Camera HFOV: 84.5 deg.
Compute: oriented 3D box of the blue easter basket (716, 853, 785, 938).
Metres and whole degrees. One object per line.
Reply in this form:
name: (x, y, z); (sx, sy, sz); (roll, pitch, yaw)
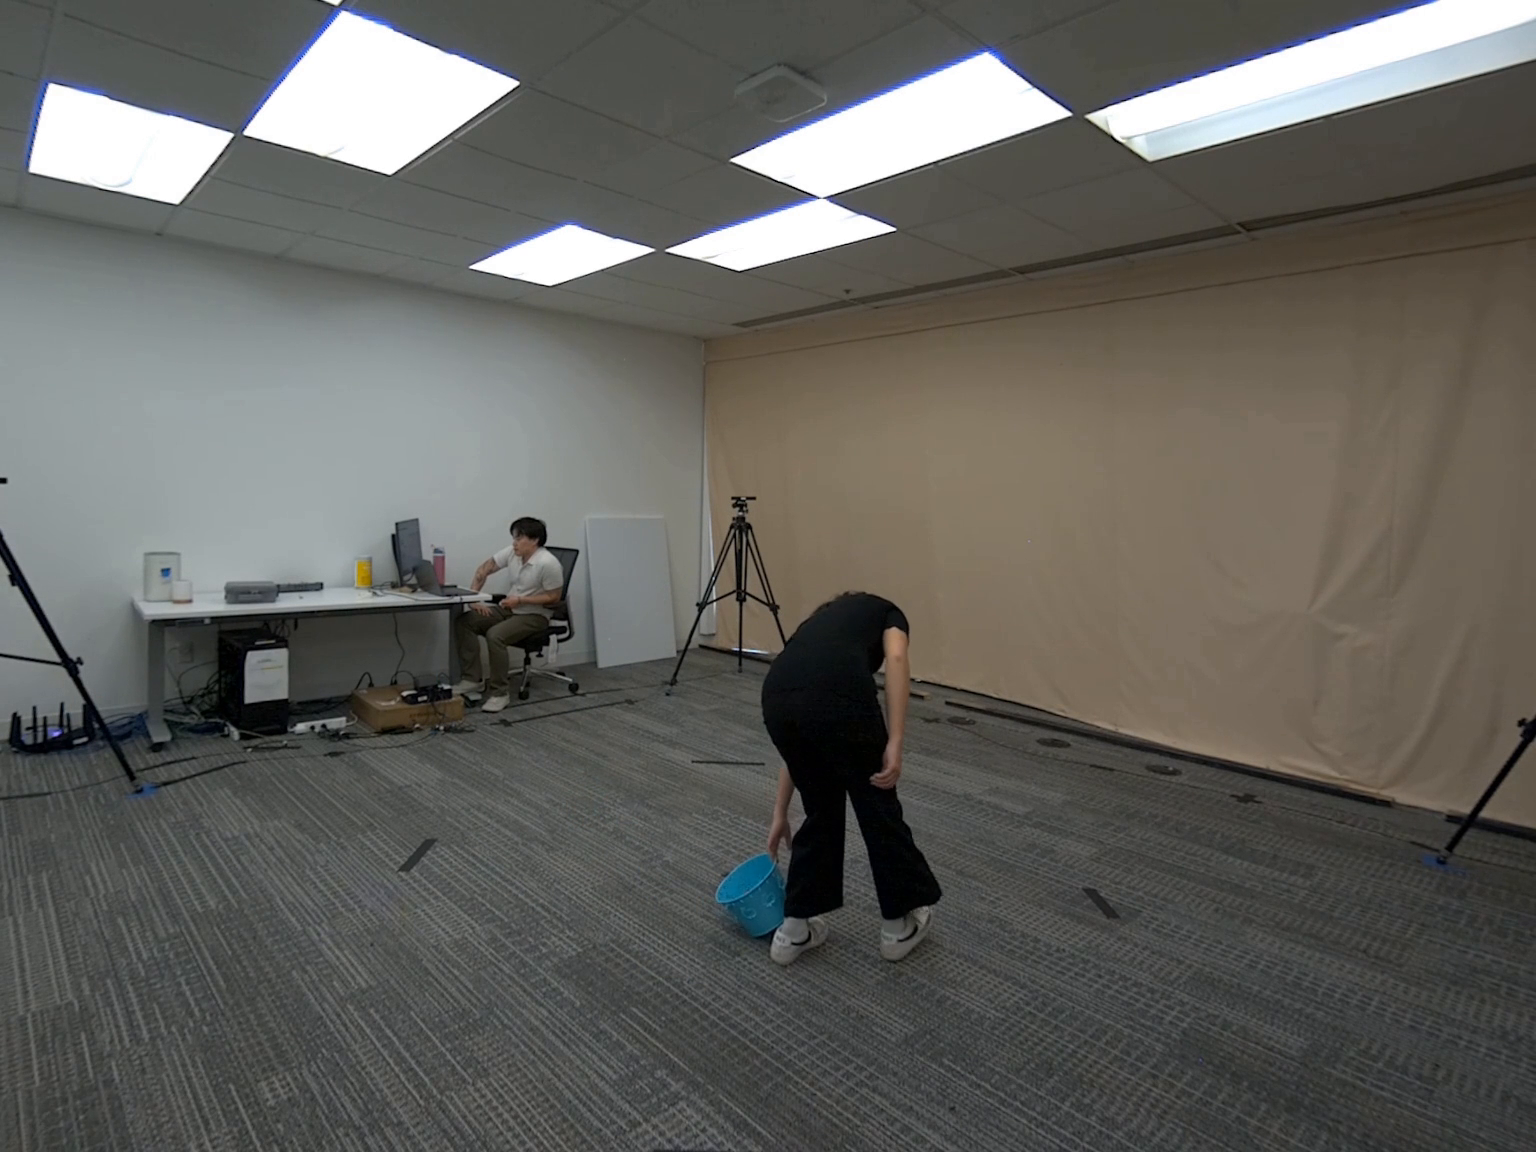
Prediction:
blue easter basket: (-0.044, 1.029, 2.707); (0.243, 0.155, 0.244); (-33, 5, 1)
